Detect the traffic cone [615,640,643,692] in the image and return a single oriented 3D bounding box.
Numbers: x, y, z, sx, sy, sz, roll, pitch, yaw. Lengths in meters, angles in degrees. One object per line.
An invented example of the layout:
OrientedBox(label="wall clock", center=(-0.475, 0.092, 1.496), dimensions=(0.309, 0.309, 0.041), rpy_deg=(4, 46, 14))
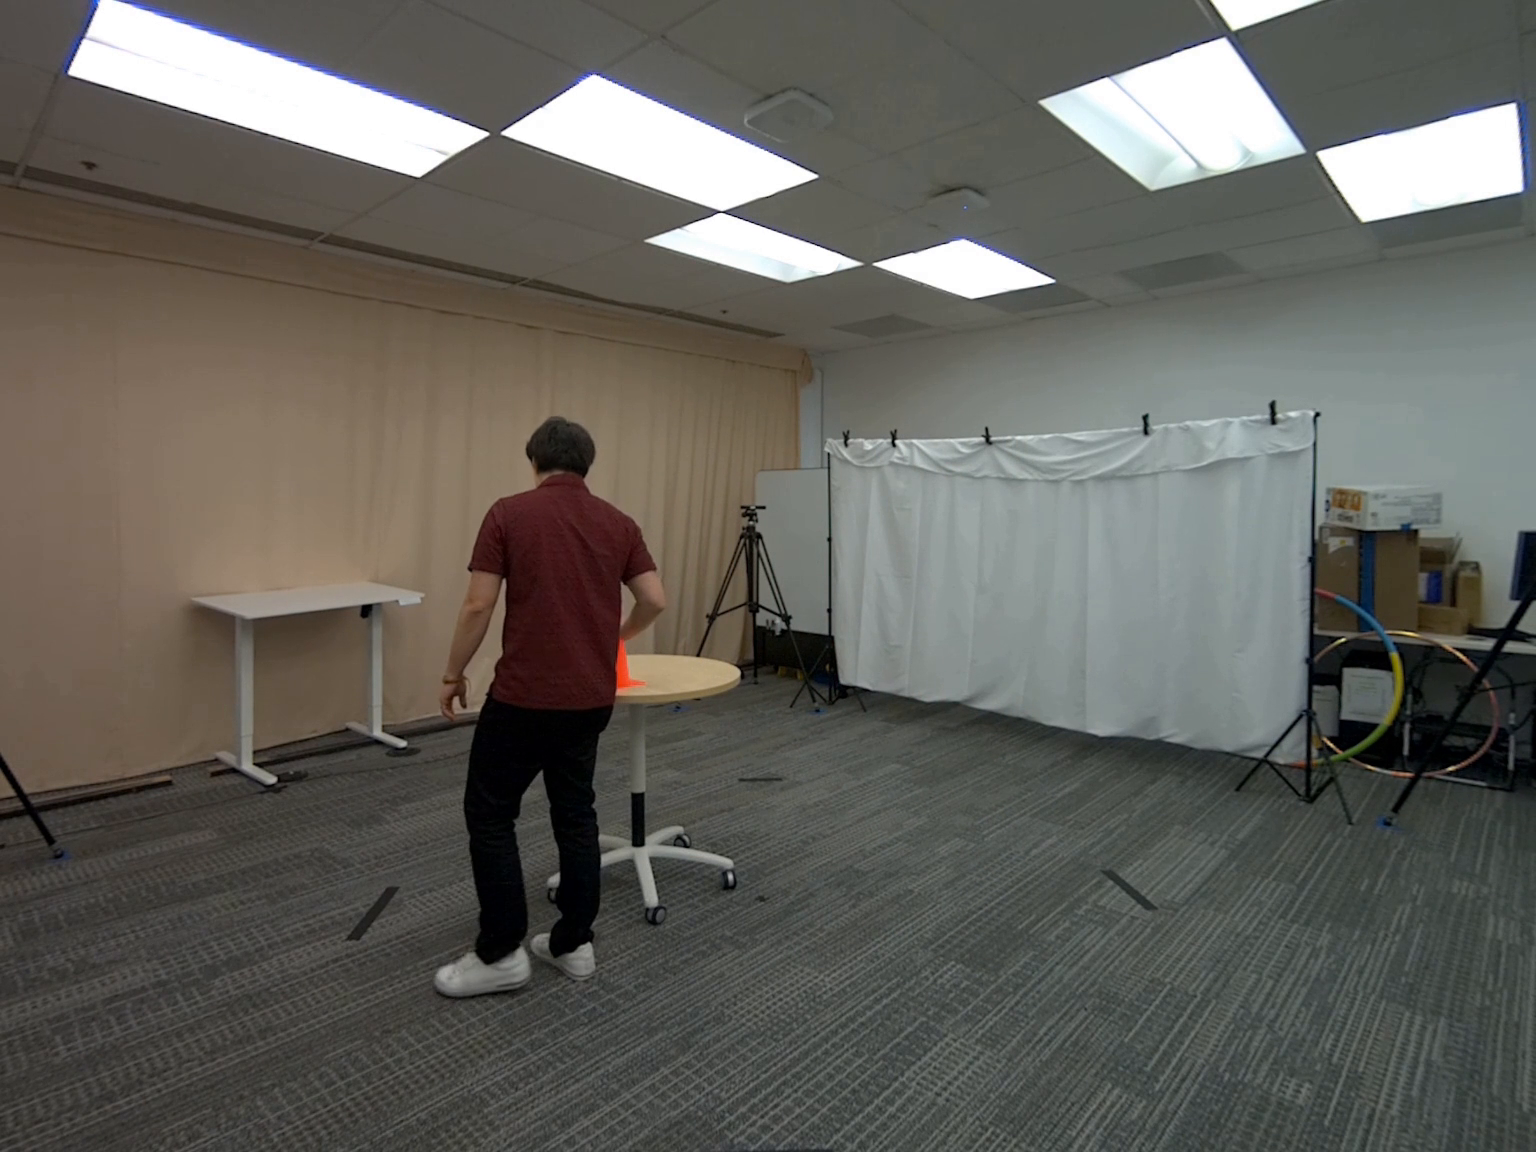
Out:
OrientedBox(label="traffic cone", center=(-0.561, 0.185, 2.892), dimensions=(0.211, 0.383, 0.197), rpy_deg=(-1, 2, 43))
